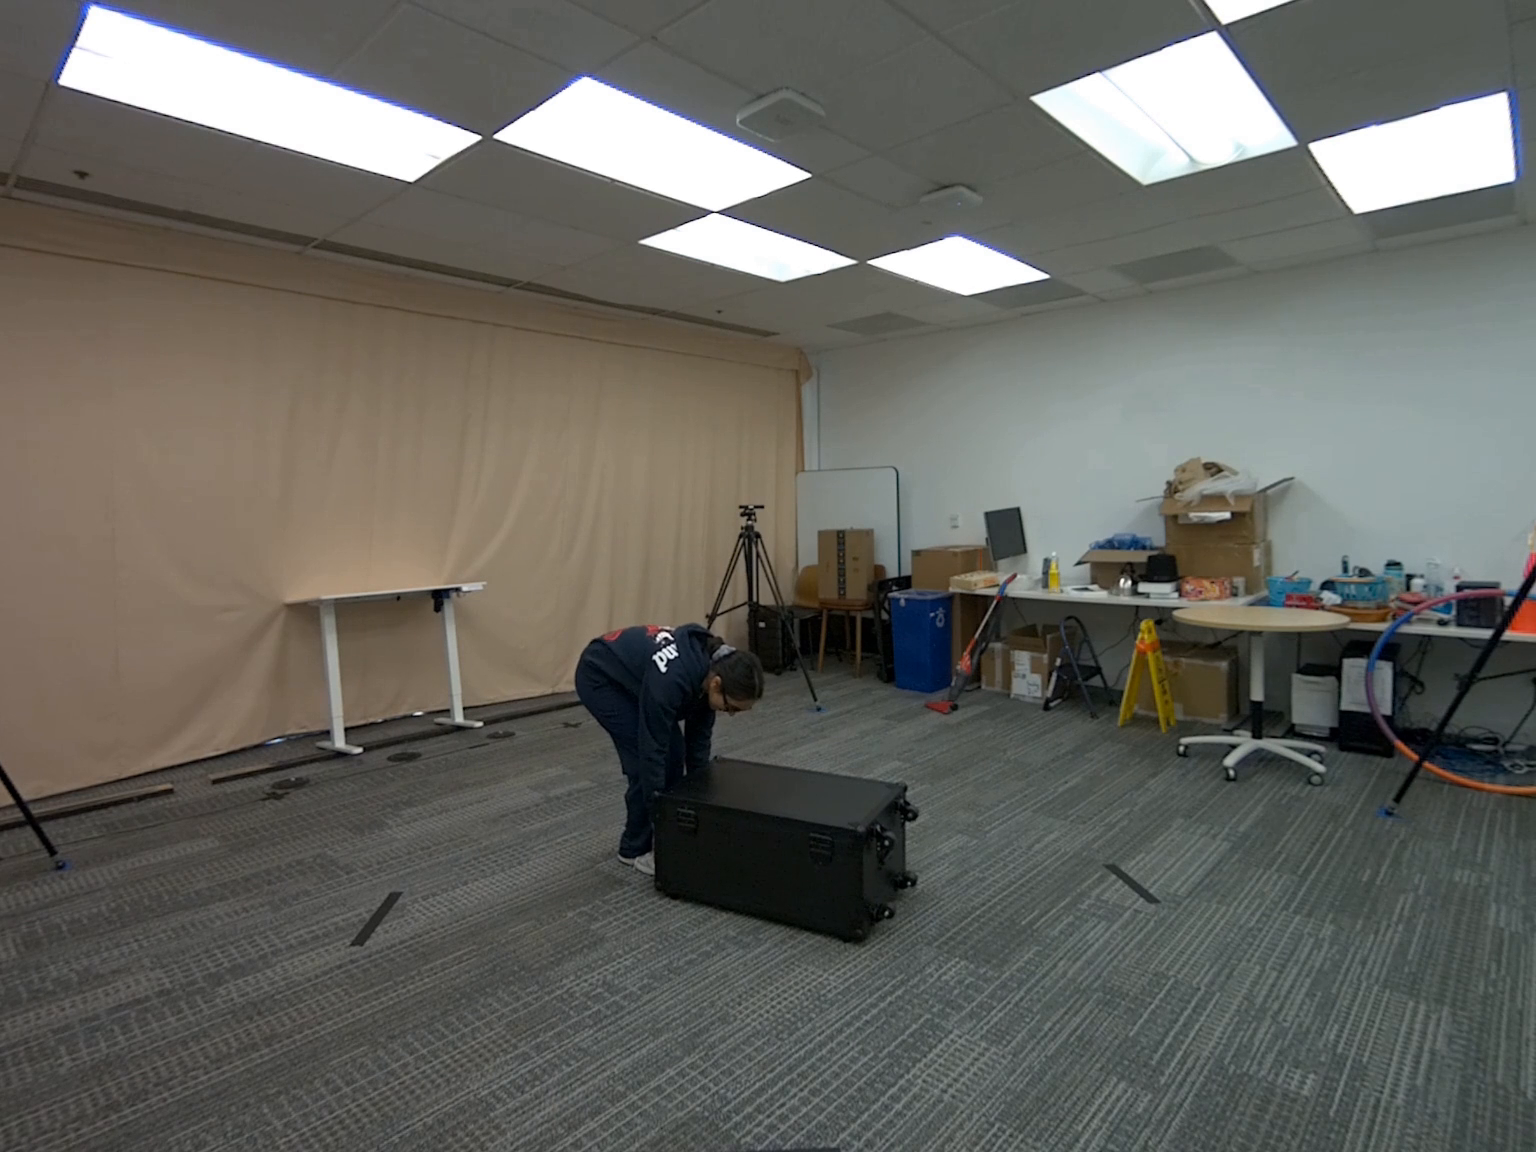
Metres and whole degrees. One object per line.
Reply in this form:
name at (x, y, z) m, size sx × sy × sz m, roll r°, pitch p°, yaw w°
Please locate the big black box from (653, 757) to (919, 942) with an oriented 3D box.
big black box at (0.083, 0.946, 2.998) m, size 0.885 × 0.395 × 0.508 m, roll 1°, pitch 4°, yaw 27°
